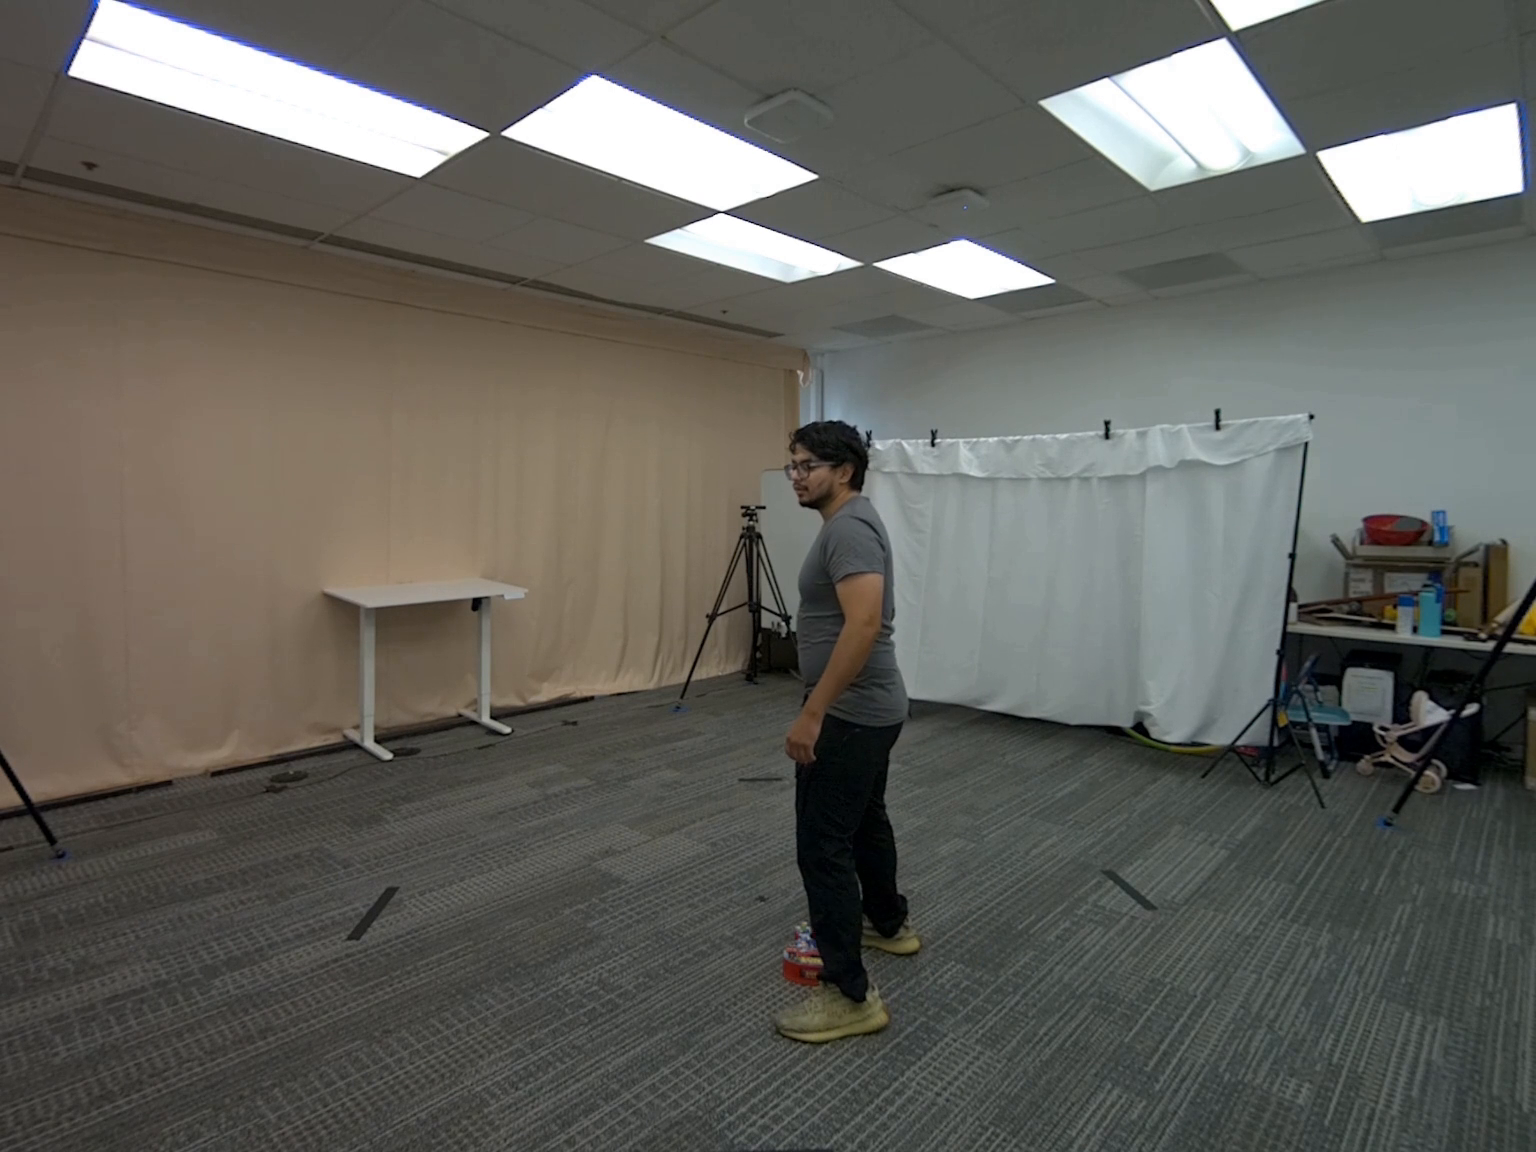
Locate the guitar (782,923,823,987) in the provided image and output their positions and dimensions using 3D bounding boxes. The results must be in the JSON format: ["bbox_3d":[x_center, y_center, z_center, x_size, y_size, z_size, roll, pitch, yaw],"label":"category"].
[{"bbox_3d":[0.191,1.136,2.675,0.196,0.070,0.491,0,5,14],"label":"guitar"}]
